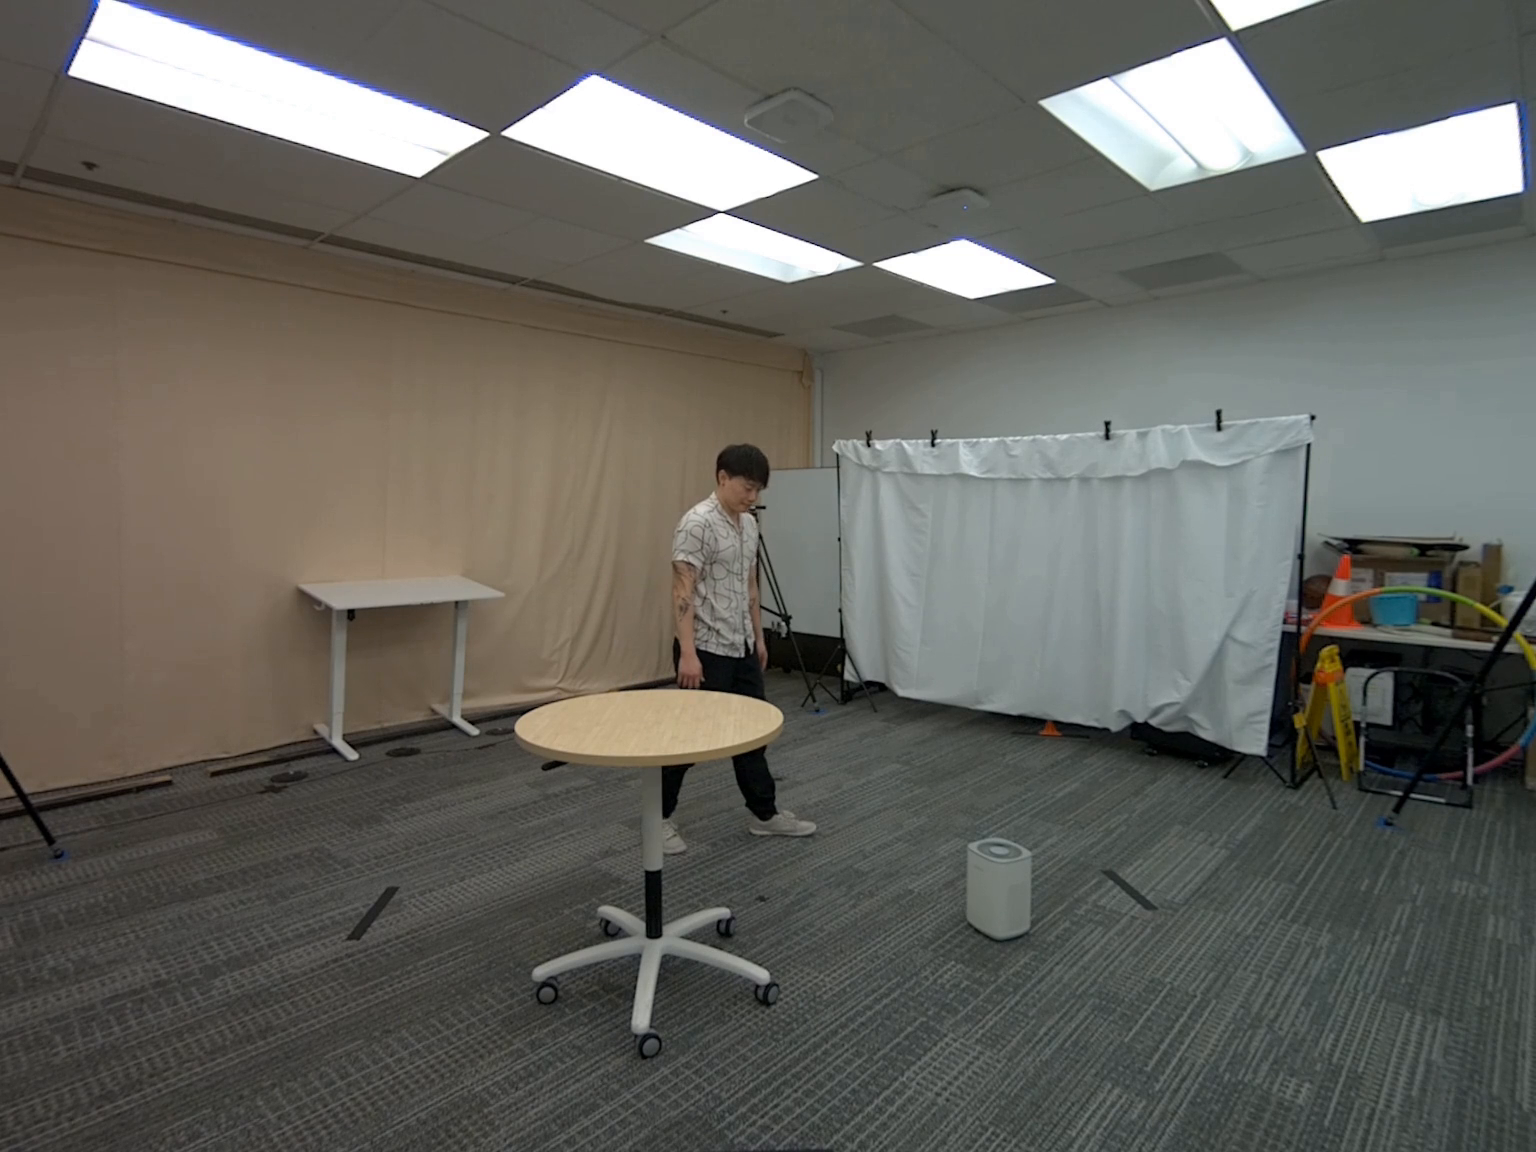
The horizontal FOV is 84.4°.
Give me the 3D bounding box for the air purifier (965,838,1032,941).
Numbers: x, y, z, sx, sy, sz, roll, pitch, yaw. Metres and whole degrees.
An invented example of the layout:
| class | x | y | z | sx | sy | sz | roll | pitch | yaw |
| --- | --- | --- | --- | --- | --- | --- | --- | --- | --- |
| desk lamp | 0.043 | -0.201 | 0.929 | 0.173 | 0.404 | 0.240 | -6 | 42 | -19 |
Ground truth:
| class | x | y | z | sx | sy | sz | roll | pitch | yaw |
| --- | --- | --- | --- | --- | --- | --- | --- | --- | --- |
| air purifier | 0.763 | 1.027 | 2.757 | 0.167 | 0.265 | 0.176 | -2 | 4 | -31 |
